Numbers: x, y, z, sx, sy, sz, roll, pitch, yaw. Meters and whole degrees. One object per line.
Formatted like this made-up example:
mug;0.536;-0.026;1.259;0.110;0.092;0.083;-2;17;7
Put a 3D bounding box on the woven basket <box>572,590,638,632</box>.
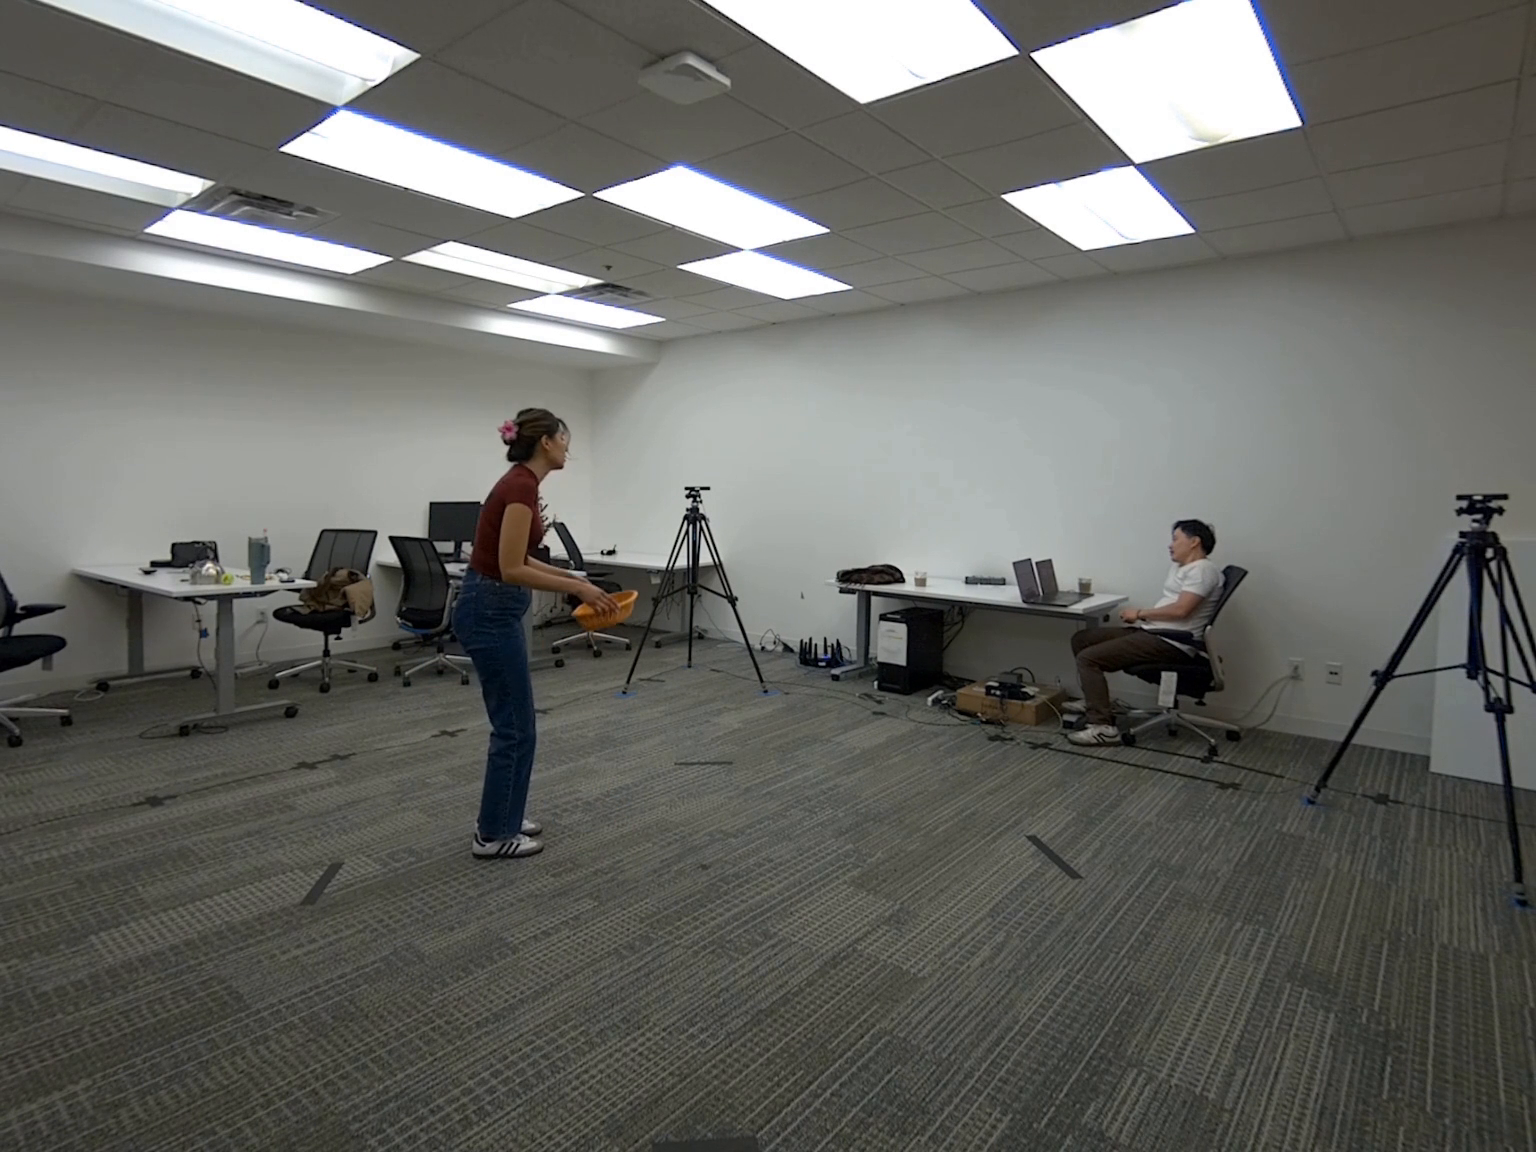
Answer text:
woven basket;-0.656;0.153;3.298;0.252;0.073;0.354;-15;9;-3
